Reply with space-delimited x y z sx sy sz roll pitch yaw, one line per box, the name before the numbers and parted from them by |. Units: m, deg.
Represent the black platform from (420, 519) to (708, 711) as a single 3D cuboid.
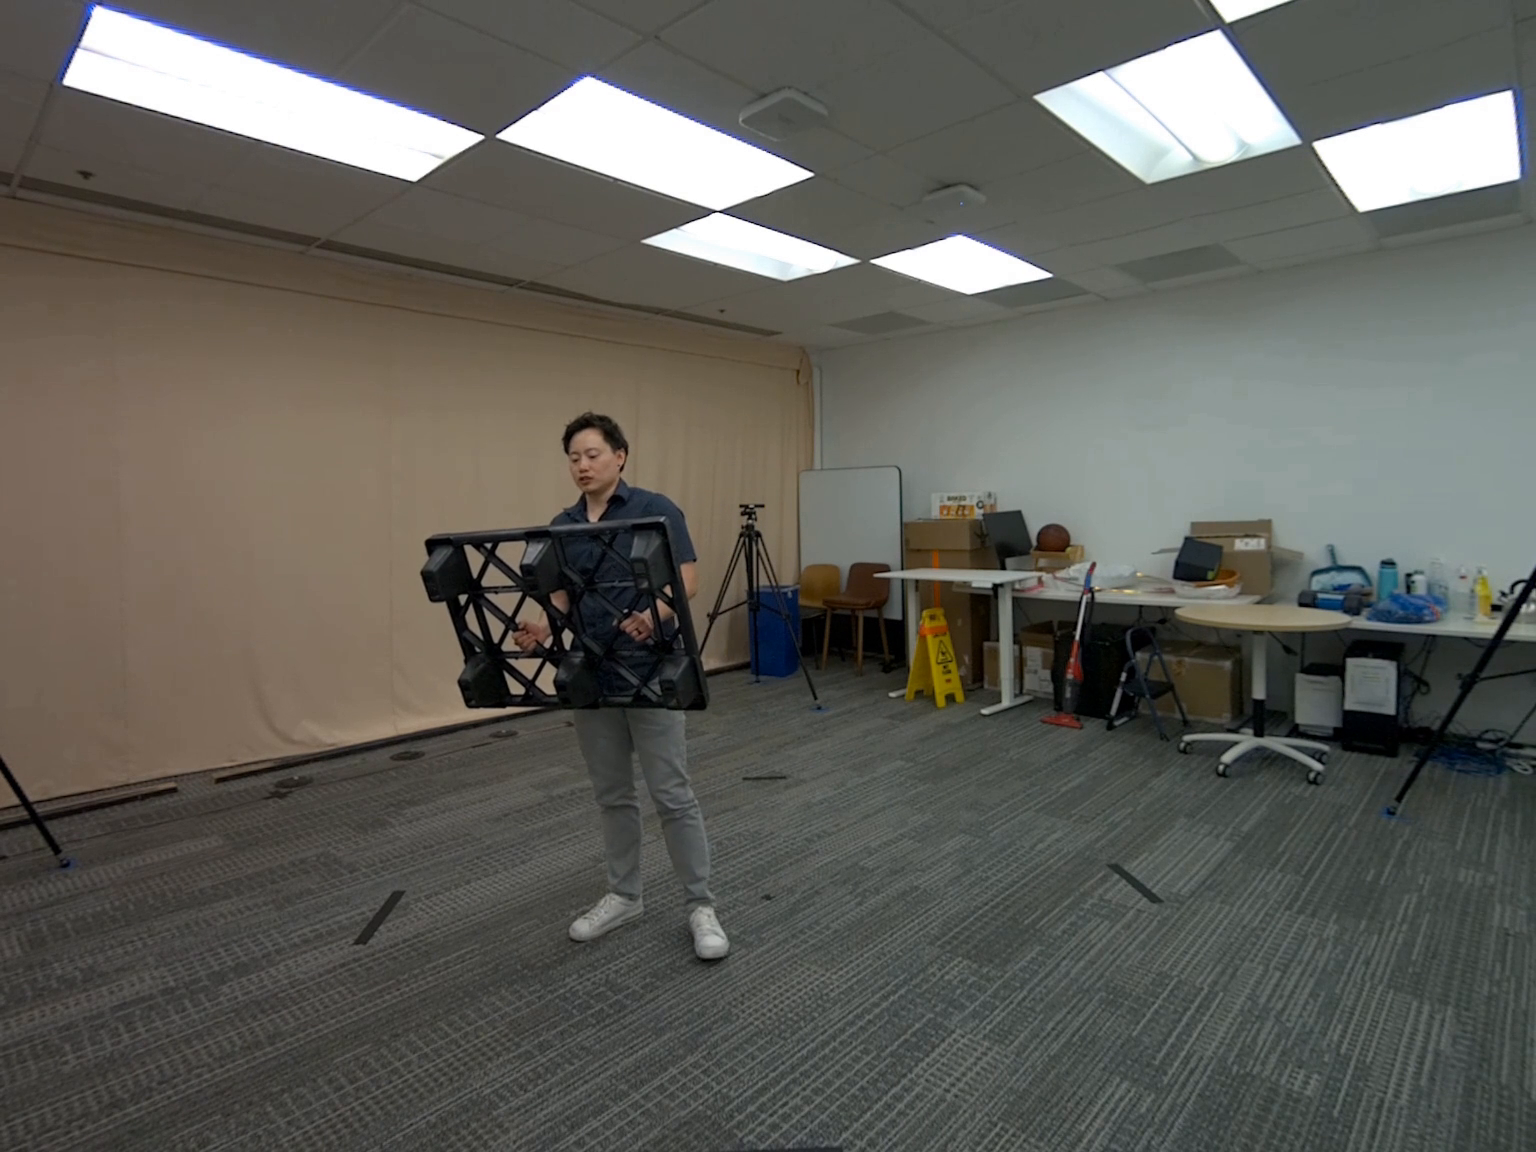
black platform | -0.609 0.152 2.463 0.821 0.595 0.143 -3 23 20
